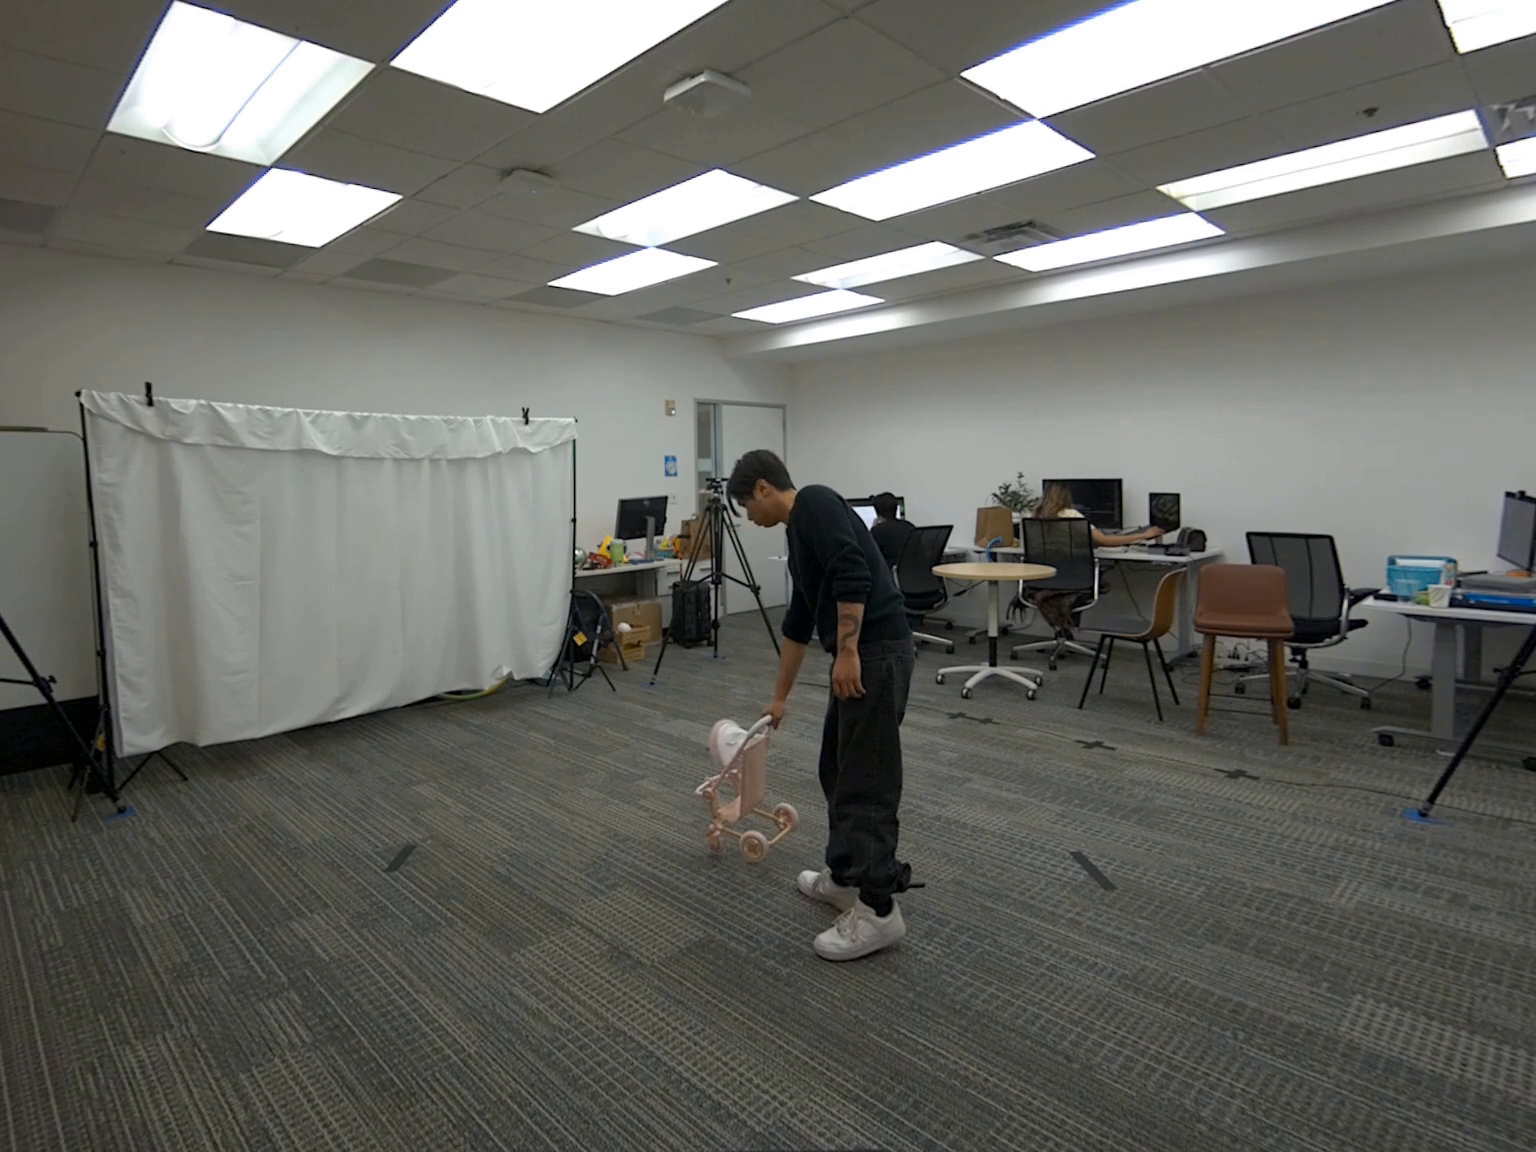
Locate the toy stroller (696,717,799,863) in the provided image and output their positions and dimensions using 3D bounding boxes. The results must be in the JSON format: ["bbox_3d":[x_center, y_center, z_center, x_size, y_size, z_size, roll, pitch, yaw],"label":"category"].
[{"bbox_3d":[-0.095,0.758,3.089,0.350,0.532,0.275,-2,6,34],"label":"toy stroller"}]
